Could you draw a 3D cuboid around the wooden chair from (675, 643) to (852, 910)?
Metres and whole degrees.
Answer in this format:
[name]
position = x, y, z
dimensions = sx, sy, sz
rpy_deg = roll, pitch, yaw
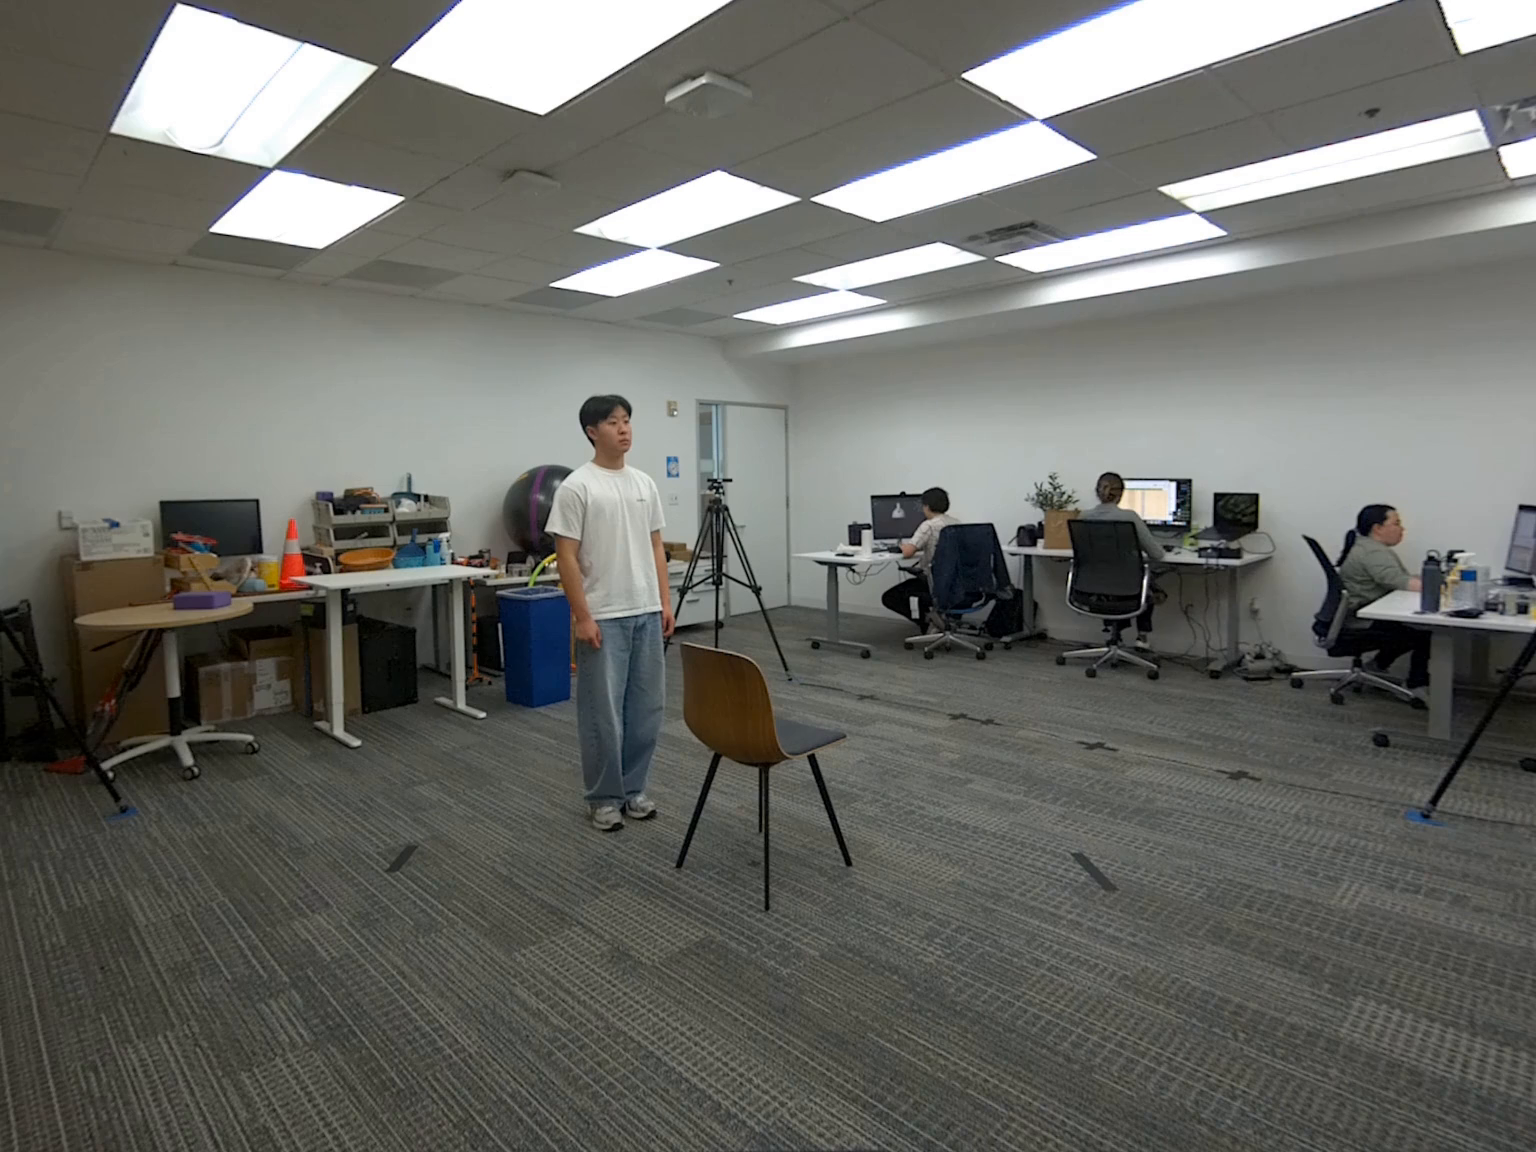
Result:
[wooden chair]
position = -0.014, 0.624, 3.048
dimensions = 0.493, 0.871, 0.511
rpy_deg = 3, 10, 44
